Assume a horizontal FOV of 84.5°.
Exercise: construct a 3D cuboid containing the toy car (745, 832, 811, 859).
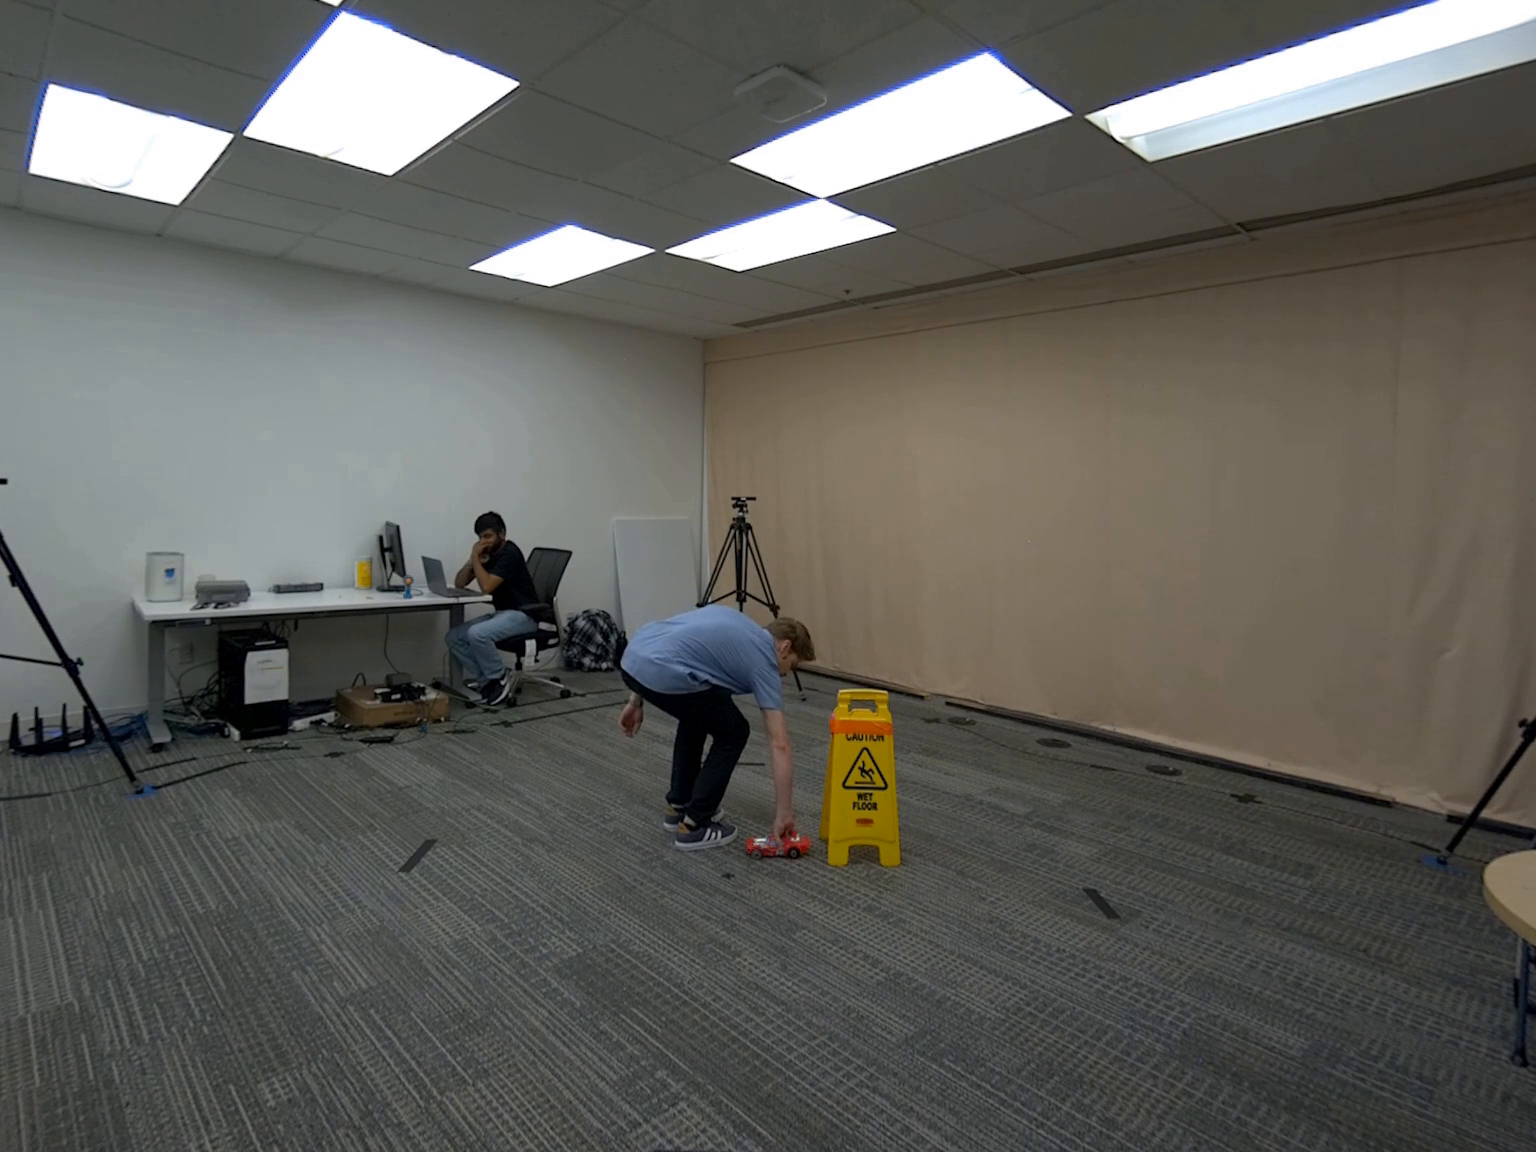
[{"bbox_3d":[0.038,1.056,3.309,0.254,0.083,0.131,-11,5,-3],"label":"toy car"}]
